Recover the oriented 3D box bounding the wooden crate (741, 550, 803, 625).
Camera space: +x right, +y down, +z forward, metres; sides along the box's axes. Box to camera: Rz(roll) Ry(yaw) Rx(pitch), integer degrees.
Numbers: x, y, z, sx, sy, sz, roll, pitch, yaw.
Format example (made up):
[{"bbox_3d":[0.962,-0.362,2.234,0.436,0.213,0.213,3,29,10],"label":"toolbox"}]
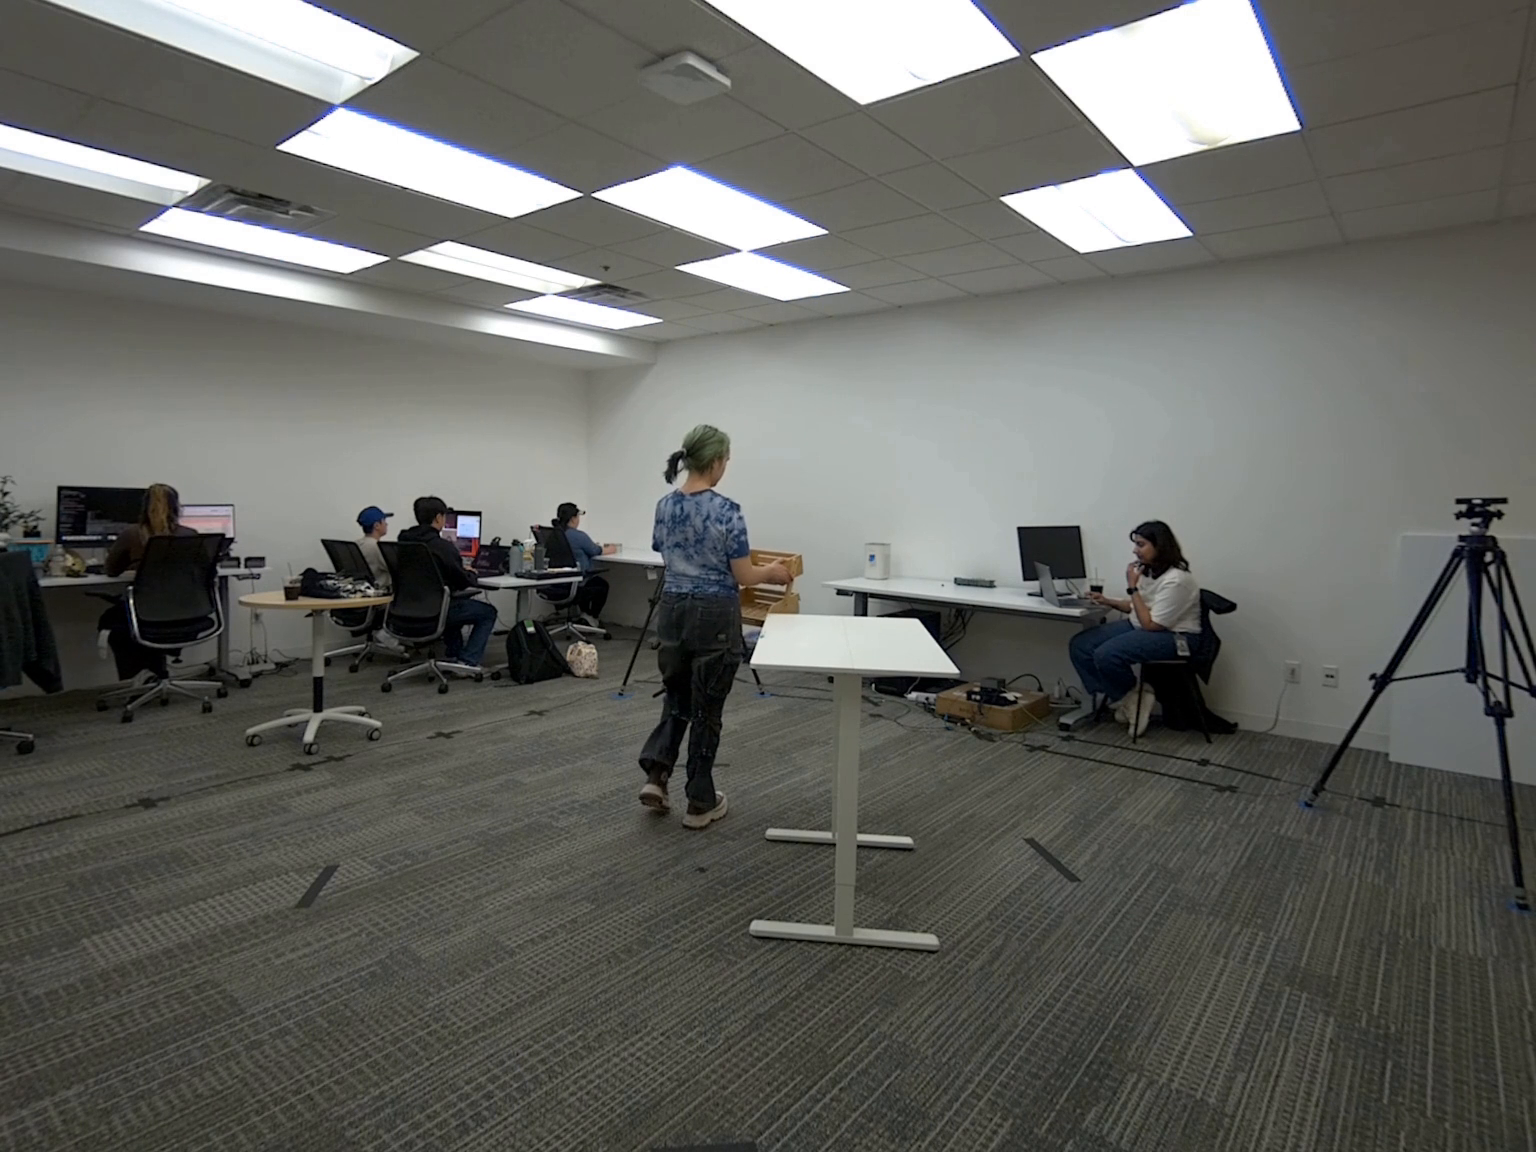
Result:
[{"bbox_3d":[-0.061,0.046,3.817,0.336,0.269,0.296,7,19,39],"label":"wooden crate"}]
